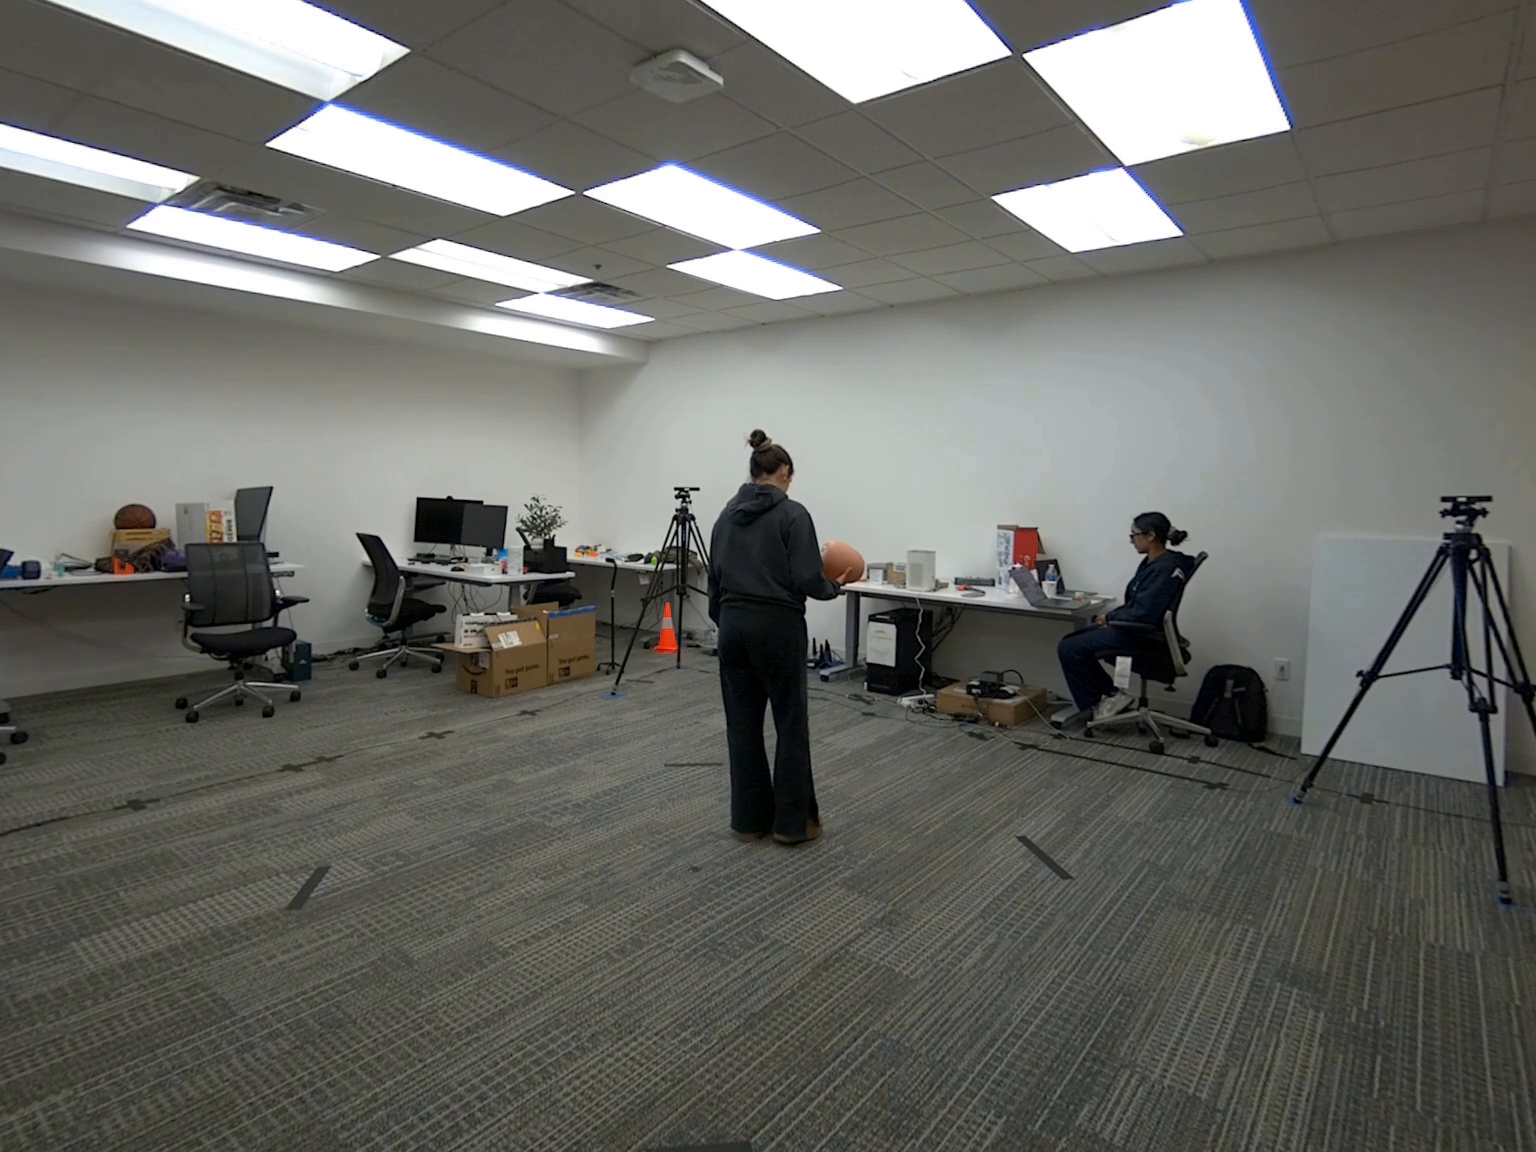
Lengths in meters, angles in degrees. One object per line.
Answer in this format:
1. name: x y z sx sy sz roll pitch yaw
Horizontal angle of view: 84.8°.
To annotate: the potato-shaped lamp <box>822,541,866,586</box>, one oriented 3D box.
1. potato-shaped lamp: 0.300 -0.056 3.539 0.195 0.168 0.170 27 -47 -11
